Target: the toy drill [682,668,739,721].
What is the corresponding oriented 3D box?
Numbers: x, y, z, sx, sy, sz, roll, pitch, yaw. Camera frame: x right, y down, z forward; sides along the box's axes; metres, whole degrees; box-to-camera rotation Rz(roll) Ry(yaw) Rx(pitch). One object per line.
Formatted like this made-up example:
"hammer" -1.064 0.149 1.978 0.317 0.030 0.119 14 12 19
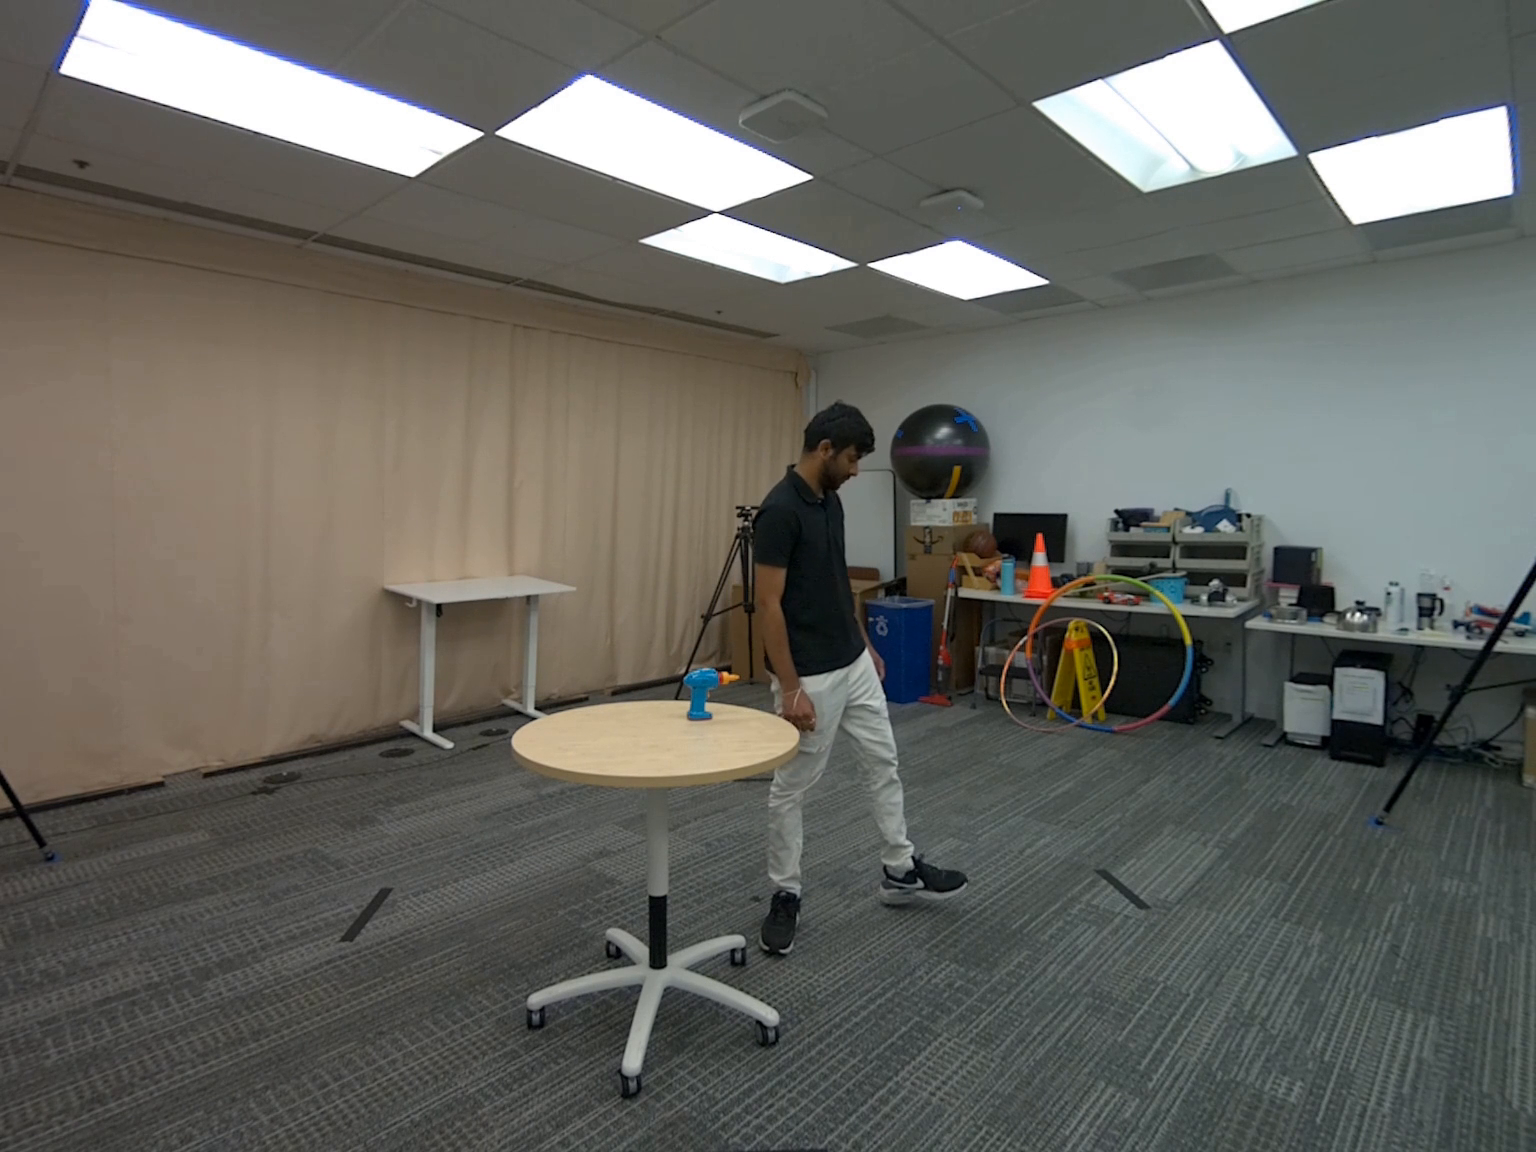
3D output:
"toy drill" -0.156 0.339 2.424 0.166 0.146 0.062 -1 2 -19
